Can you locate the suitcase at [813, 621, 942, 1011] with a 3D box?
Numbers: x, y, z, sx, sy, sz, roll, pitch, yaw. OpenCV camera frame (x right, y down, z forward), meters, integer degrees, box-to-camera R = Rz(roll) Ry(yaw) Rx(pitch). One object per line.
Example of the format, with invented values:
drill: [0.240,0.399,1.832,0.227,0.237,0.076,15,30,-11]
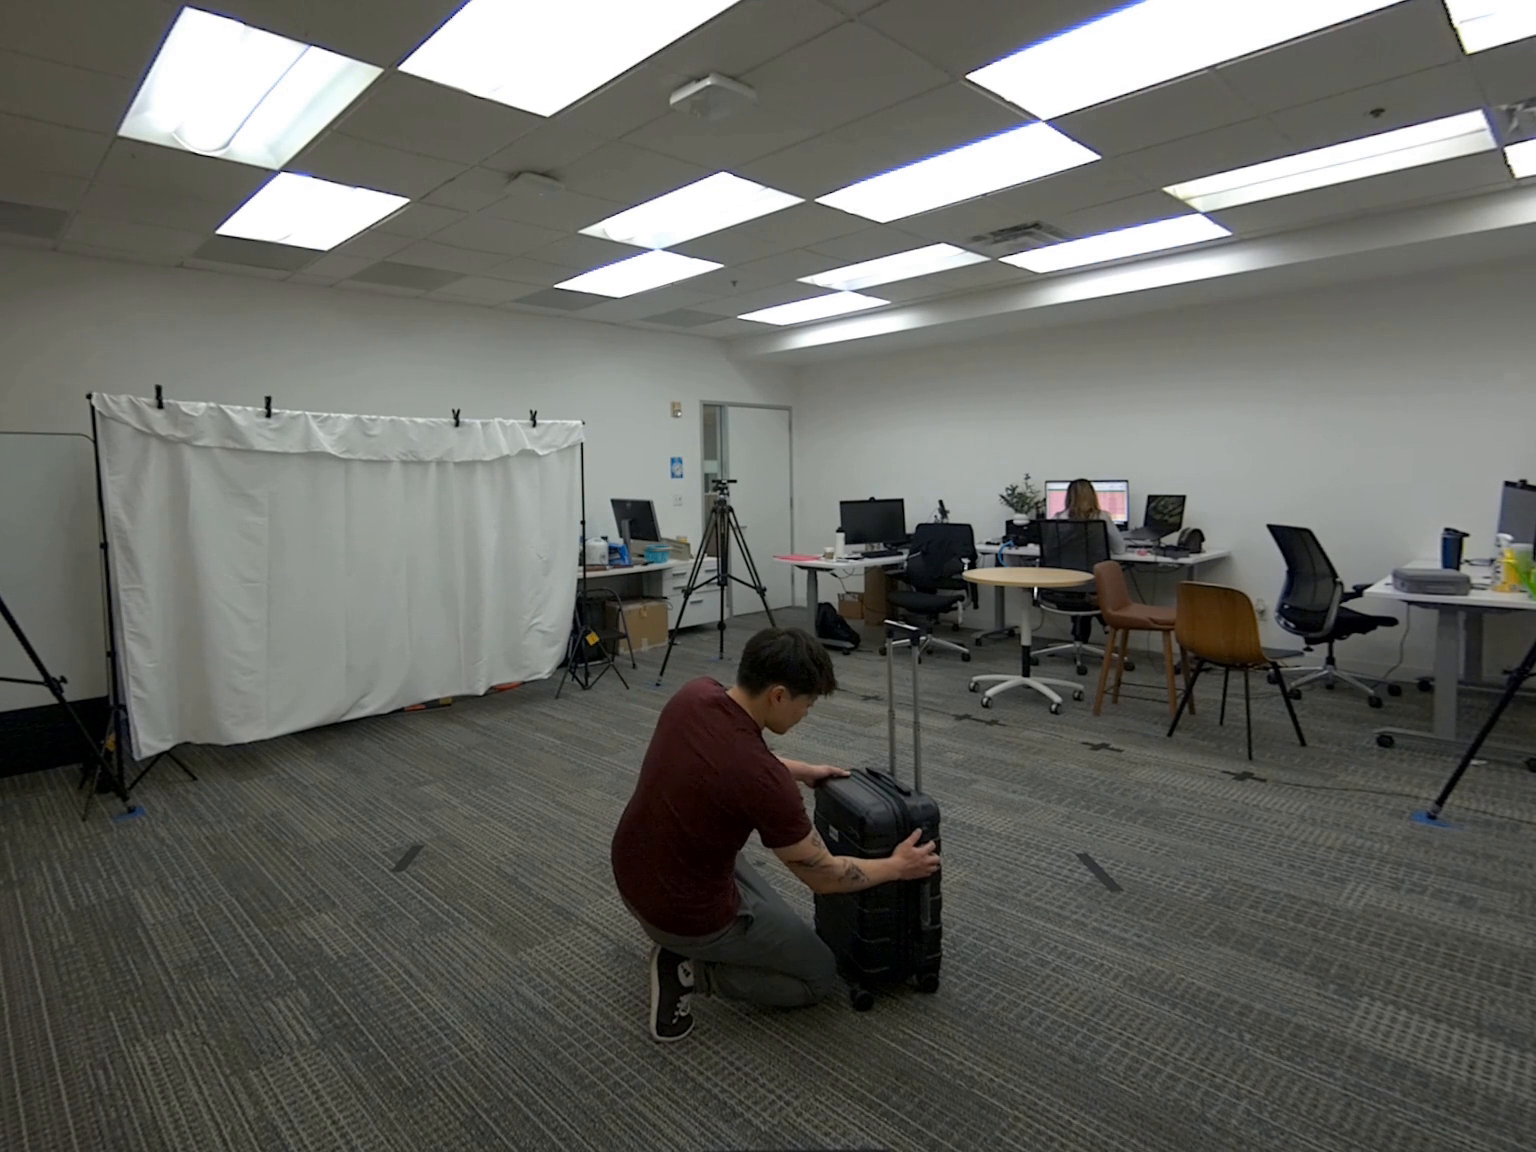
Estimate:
suitcase: [0.302,0.641,2.404,0.253,0.976,0.391,-3,3,-18]
